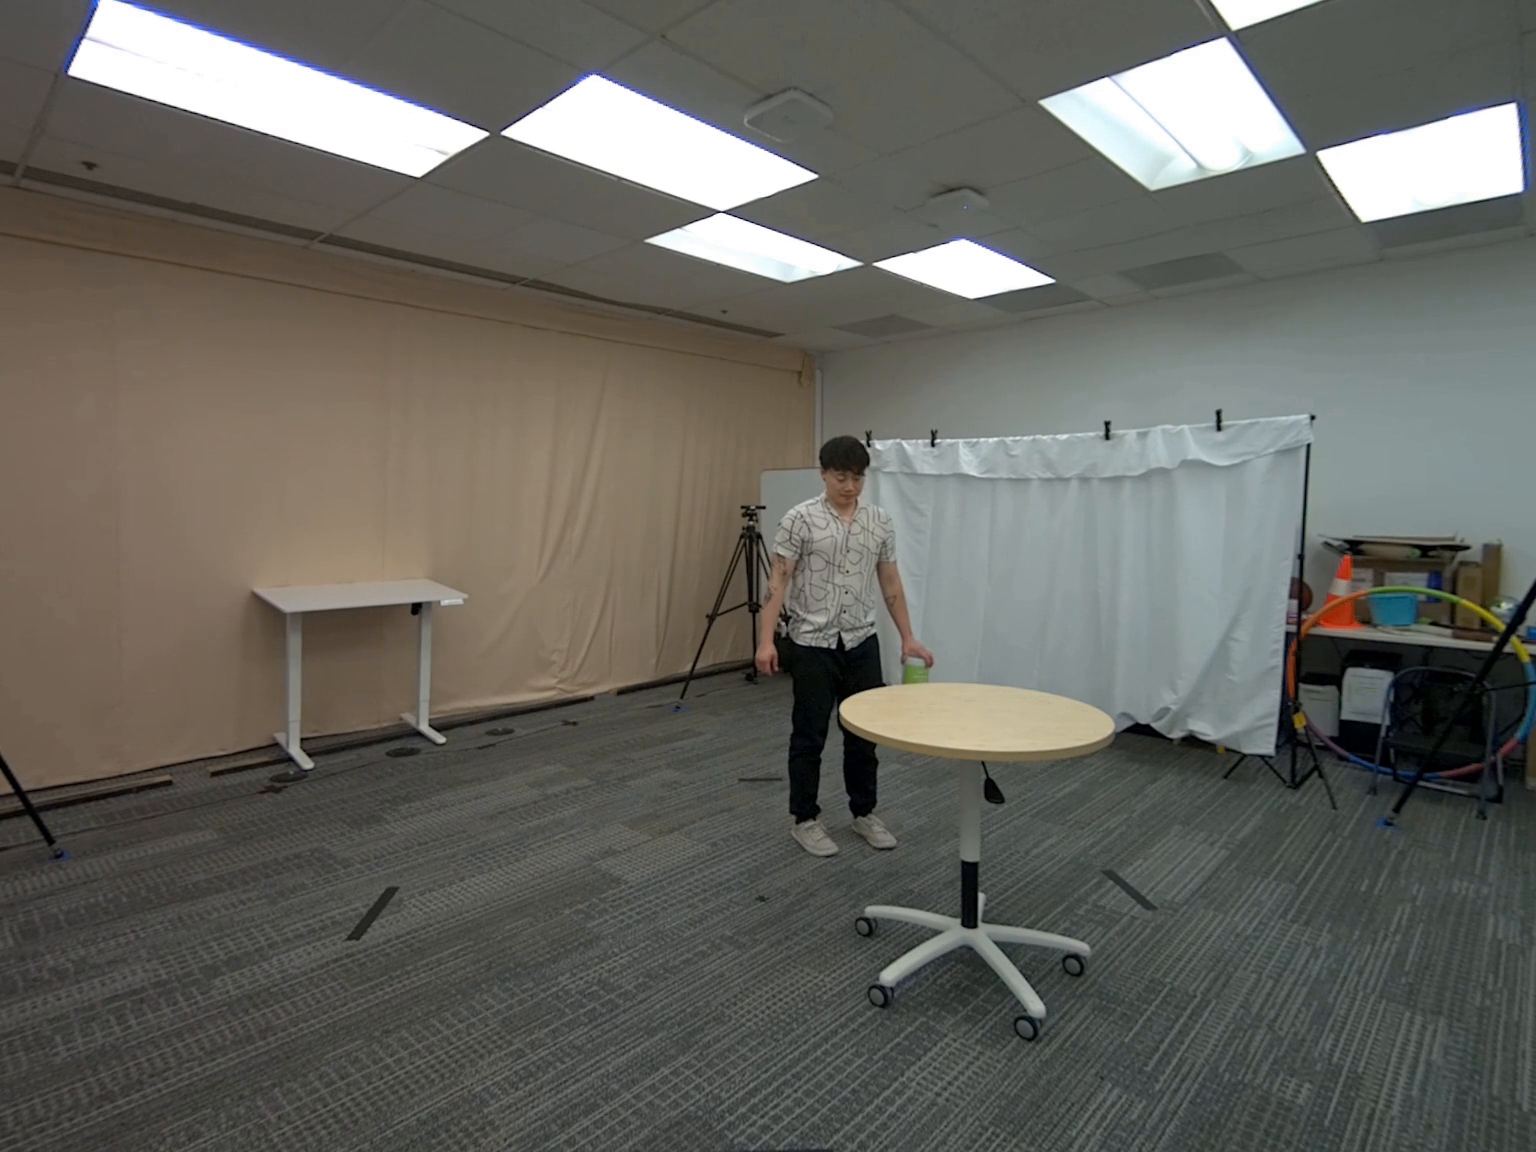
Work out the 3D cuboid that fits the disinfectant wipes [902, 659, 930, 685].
[{"bbox_3d":[0.608,0.441,3.476,0.117,0.217,0.118,3,6,-2],"label":"disinfectant wipes"}]
